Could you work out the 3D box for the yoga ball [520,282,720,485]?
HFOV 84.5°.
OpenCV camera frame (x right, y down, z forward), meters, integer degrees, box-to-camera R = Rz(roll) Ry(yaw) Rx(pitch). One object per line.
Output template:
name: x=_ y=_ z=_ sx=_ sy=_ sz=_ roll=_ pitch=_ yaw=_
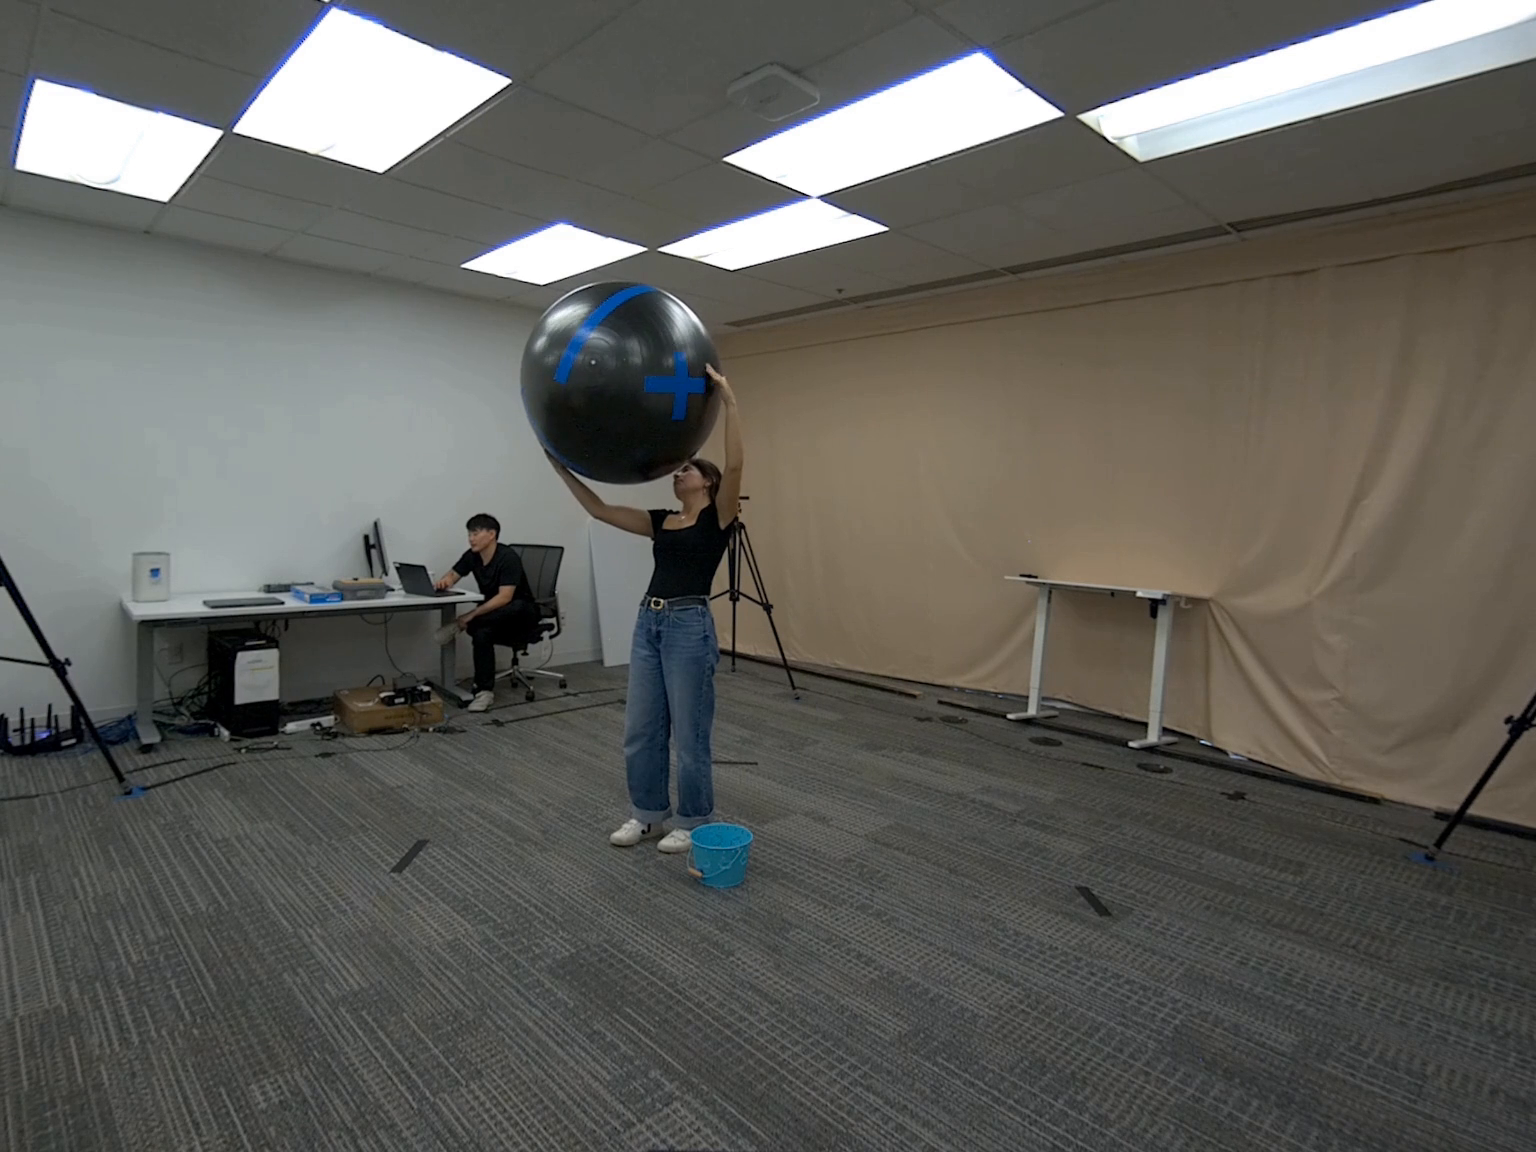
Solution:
yoga ball: x=-0.551 y=-0.723 z=3.192 sx=0.757 sy=0.756 sz=0.761 roll=1 pitch=4 yaw=-1
